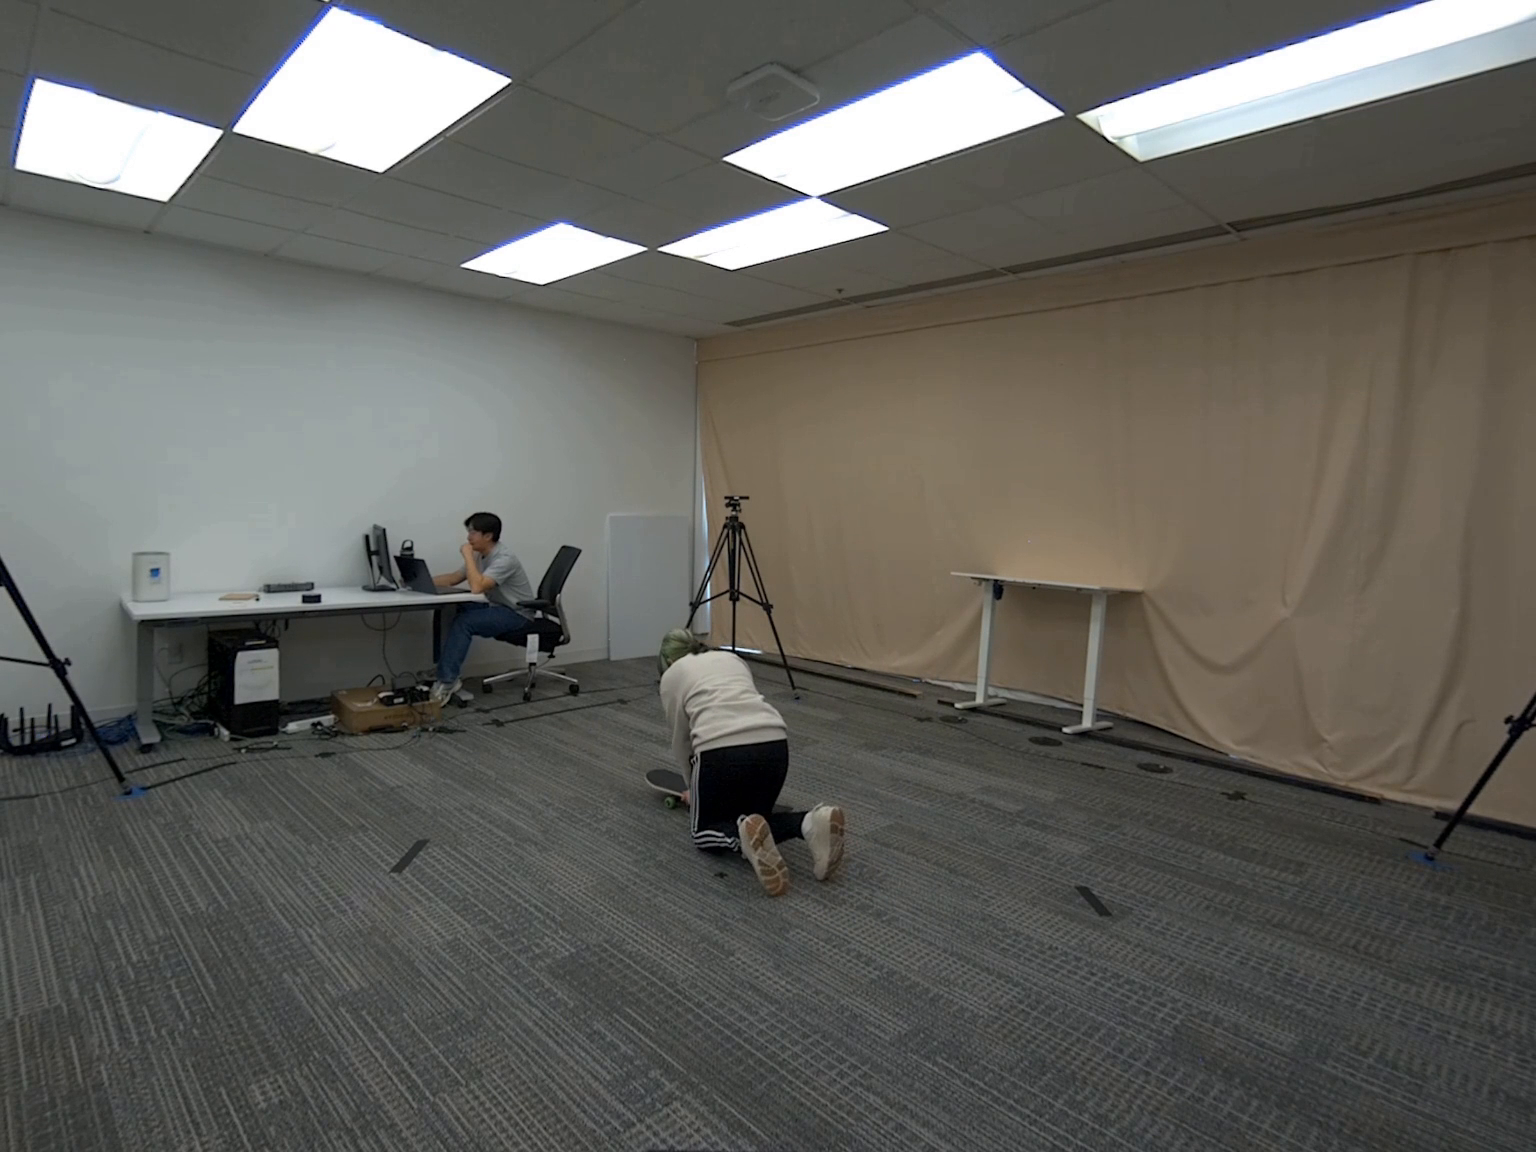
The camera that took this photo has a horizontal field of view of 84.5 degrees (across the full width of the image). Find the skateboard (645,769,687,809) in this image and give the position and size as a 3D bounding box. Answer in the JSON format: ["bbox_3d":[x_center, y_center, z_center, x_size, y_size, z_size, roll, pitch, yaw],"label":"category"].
[{"bbox_3d":[-0.242,1.000,3.704,0.805,0.110,0.189,6,7,37],"label":"skateboard"}]
